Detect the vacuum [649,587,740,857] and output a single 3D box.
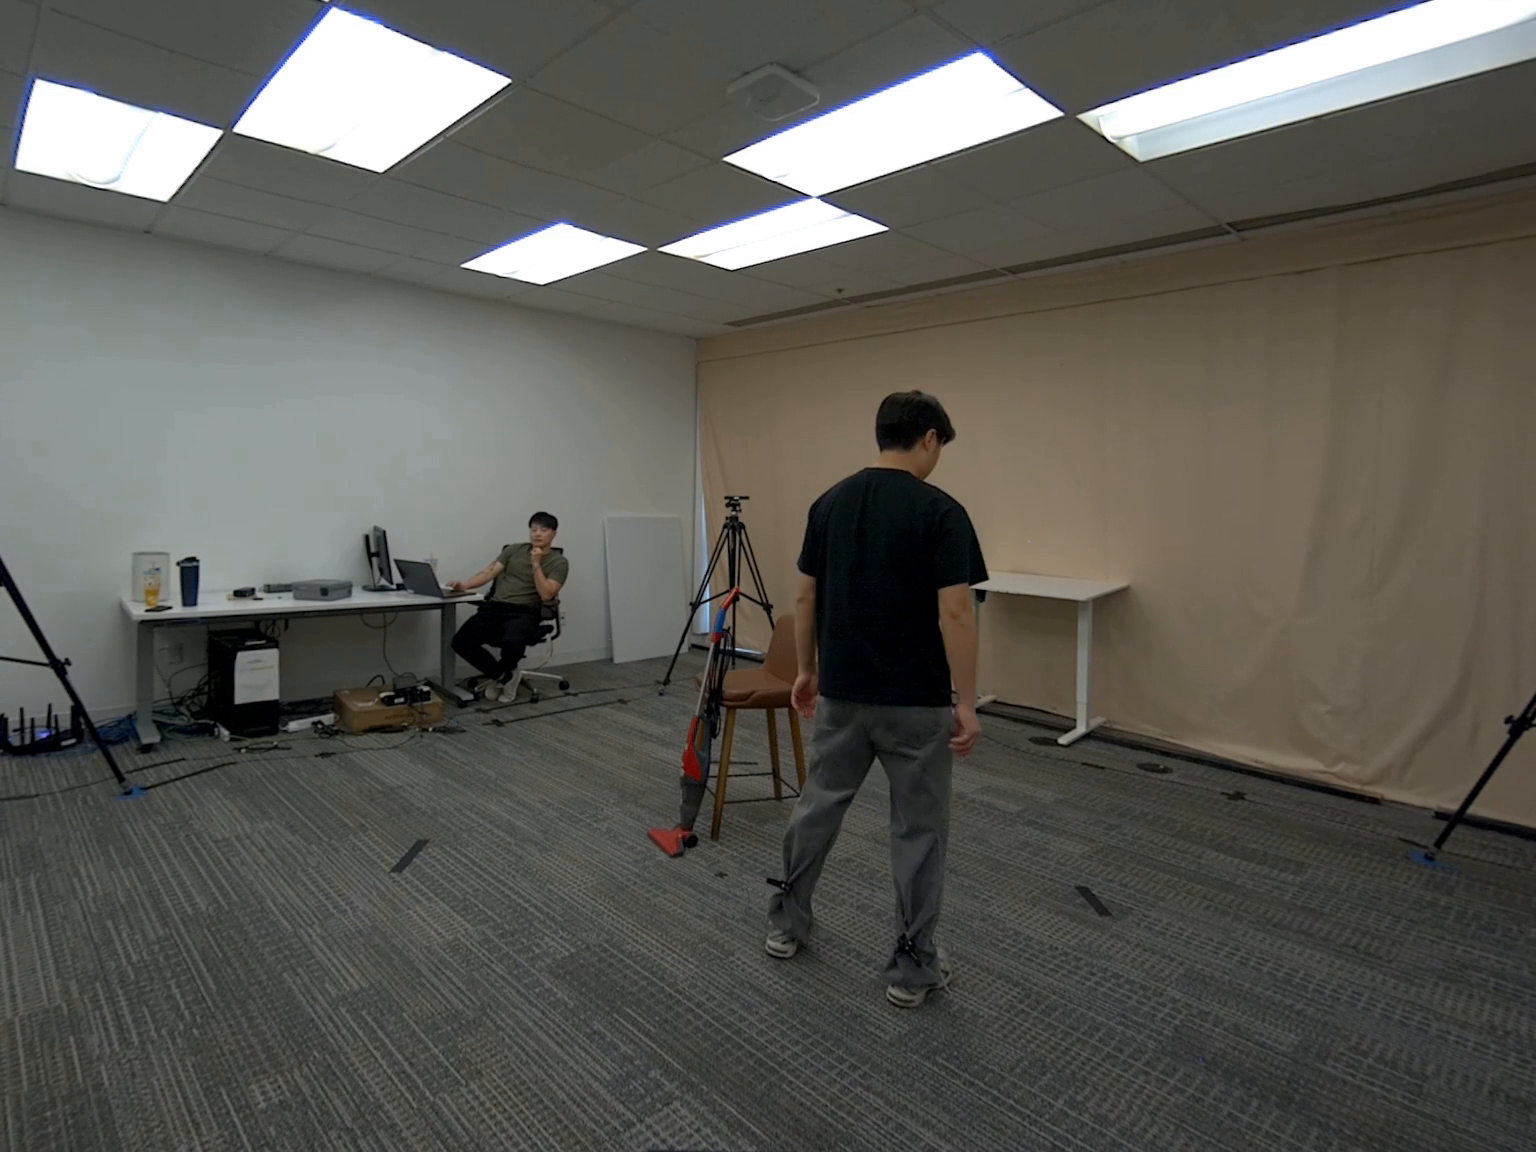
[{"bbox_3d":[-0.252,0.564,3.419,0.140,1.052,0.258,16,-6,-34],"label":"vacuum"}]
